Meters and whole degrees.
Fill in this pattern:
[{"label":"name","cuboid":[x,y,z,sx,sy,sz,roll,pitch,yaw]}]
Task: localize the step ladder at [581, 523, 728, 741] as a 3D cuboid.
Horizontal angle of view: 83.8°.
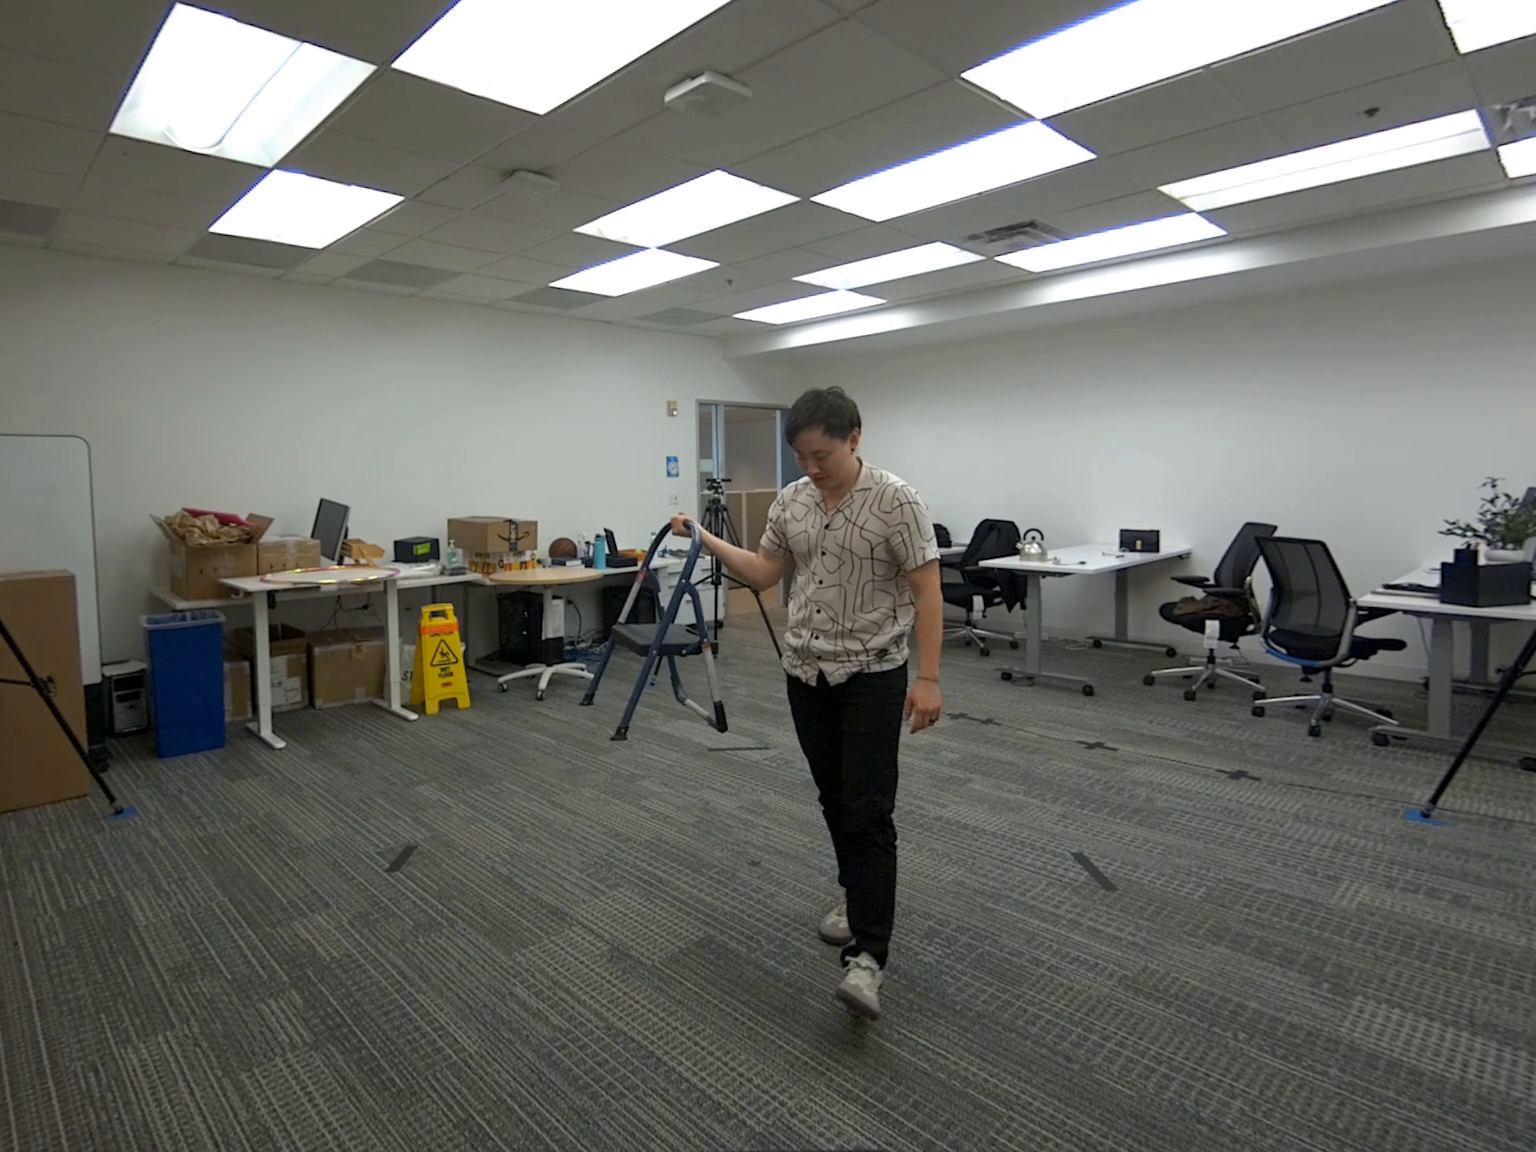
[{"label":"step ladder","cuboid":[-0.332,0.137,2.591,0.342,0.604,0.441,2,4,-25]}]
